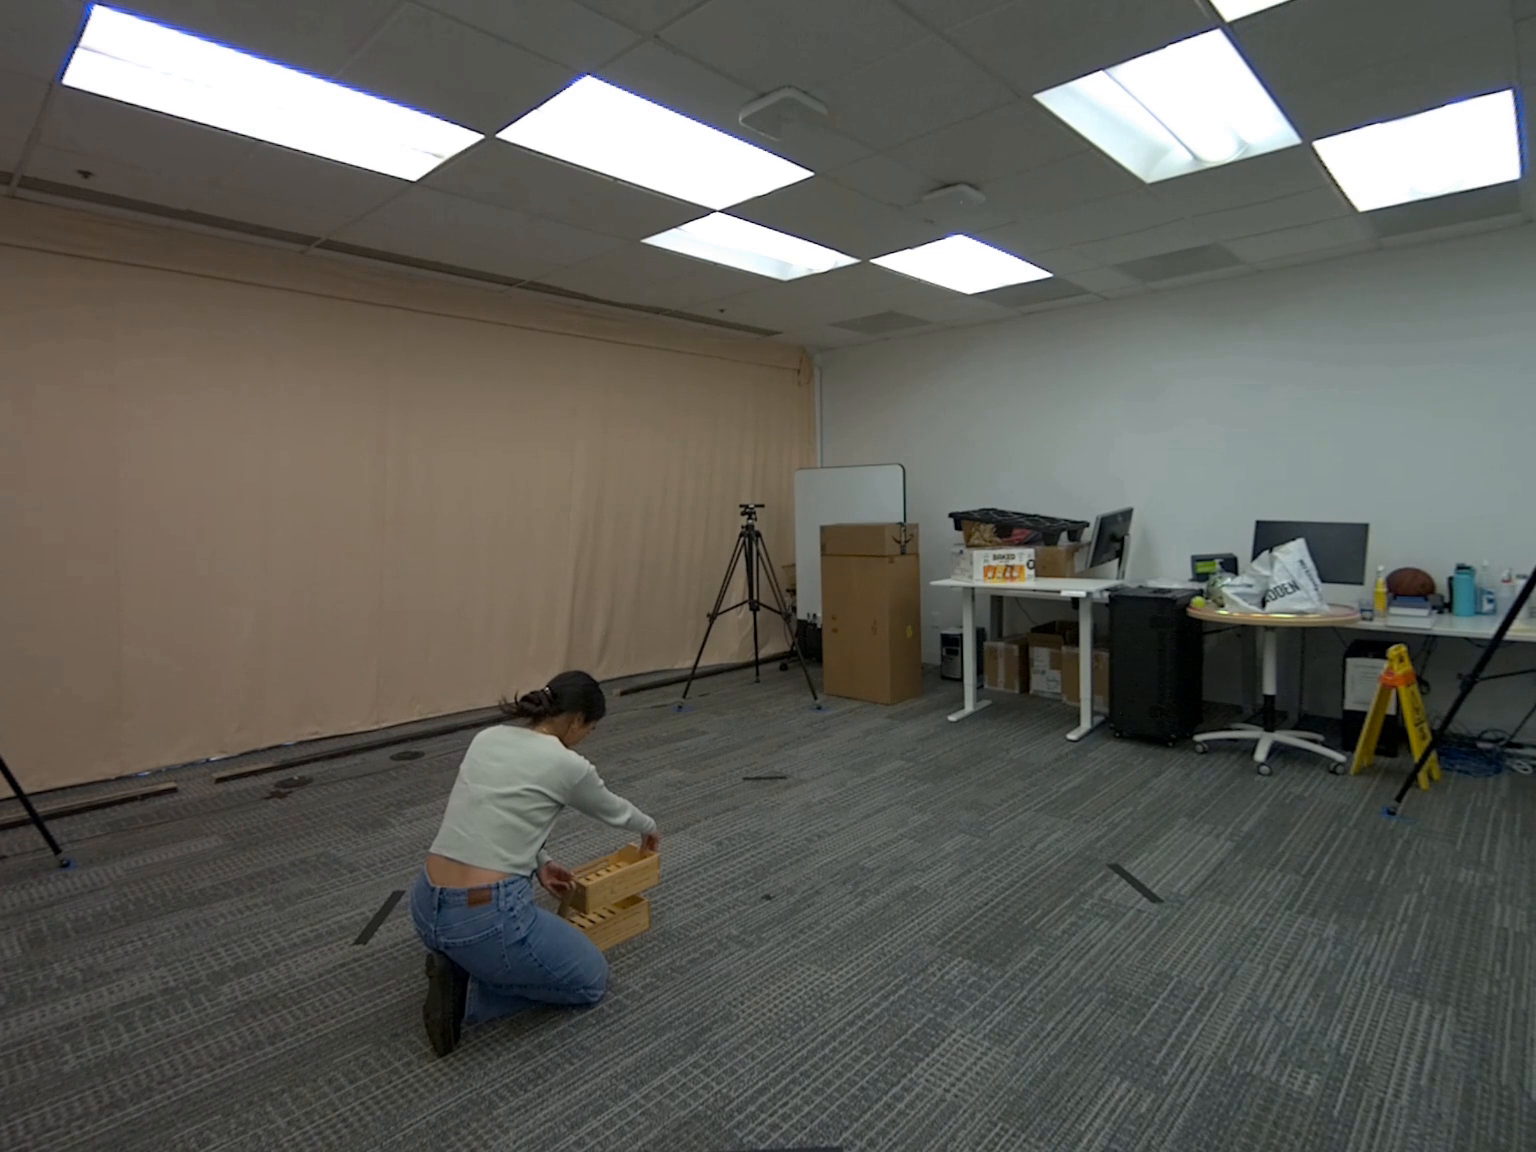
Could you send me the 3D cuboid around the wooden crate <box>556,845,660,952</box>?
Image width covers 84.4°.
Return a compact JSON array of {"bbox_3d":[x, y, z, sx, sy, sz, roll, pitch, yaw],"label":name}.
[{"bbox_3d":[-0.563,1.040,2.741,0.312,0.272,0.315,4,6,42],"label":"wooden crate"}]
